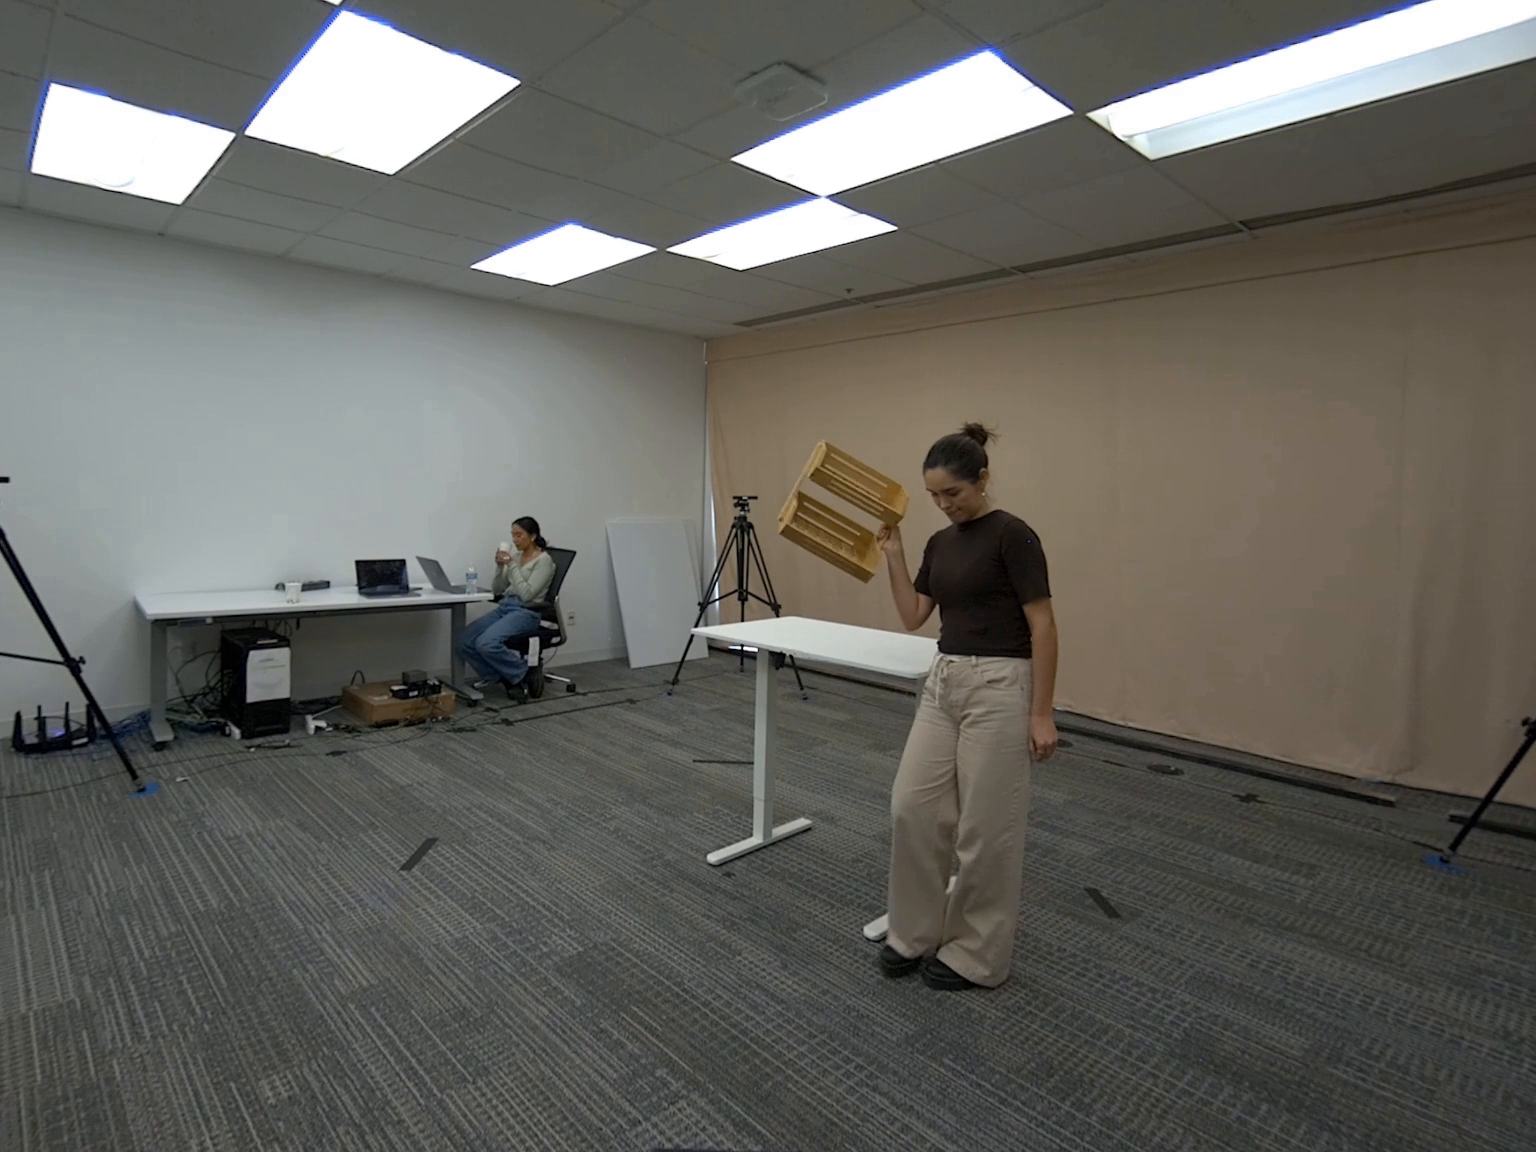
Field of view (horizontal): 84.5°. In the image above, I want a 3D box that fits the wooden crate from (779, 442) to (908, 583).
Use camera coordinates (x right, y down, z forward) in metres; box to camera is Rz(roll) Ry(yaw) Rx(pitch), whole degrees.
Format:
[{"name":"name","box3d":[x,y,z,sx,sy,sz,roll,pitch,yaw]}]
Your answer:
[{"name":"wooden crate","box3d":[0.228,-0.199,2.545,0.322,0.272,0.305,29,20,-7]}]
